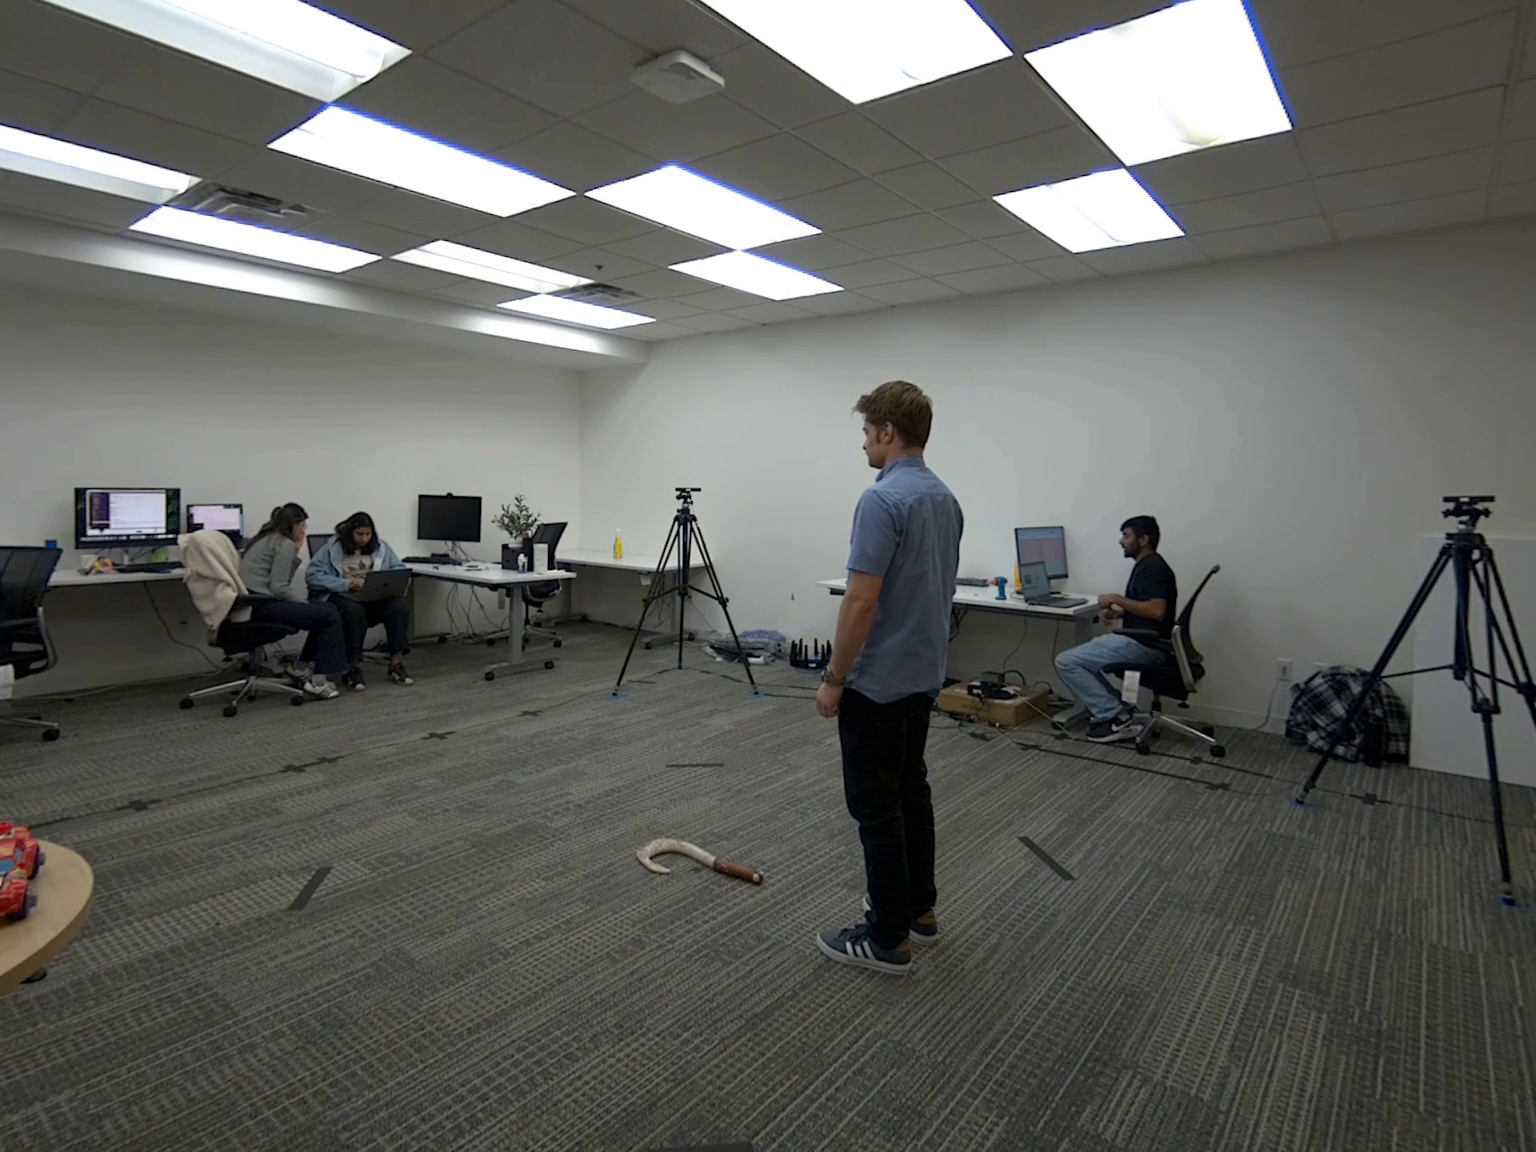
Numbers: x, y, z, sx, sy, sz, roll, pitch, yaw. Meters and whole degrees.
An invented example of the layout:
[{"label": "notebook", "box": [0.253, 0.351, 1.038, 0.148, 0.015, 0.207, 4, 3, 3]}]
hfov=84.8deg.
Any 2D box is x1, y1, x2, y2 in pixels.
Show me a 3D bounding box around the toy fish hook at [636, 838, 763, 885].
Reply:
[{"label": "toy fish hook", "box": [-0.266, 1.053, 3.094, 0.523, 0.048, 0.220, 4, 14, 35]}]
